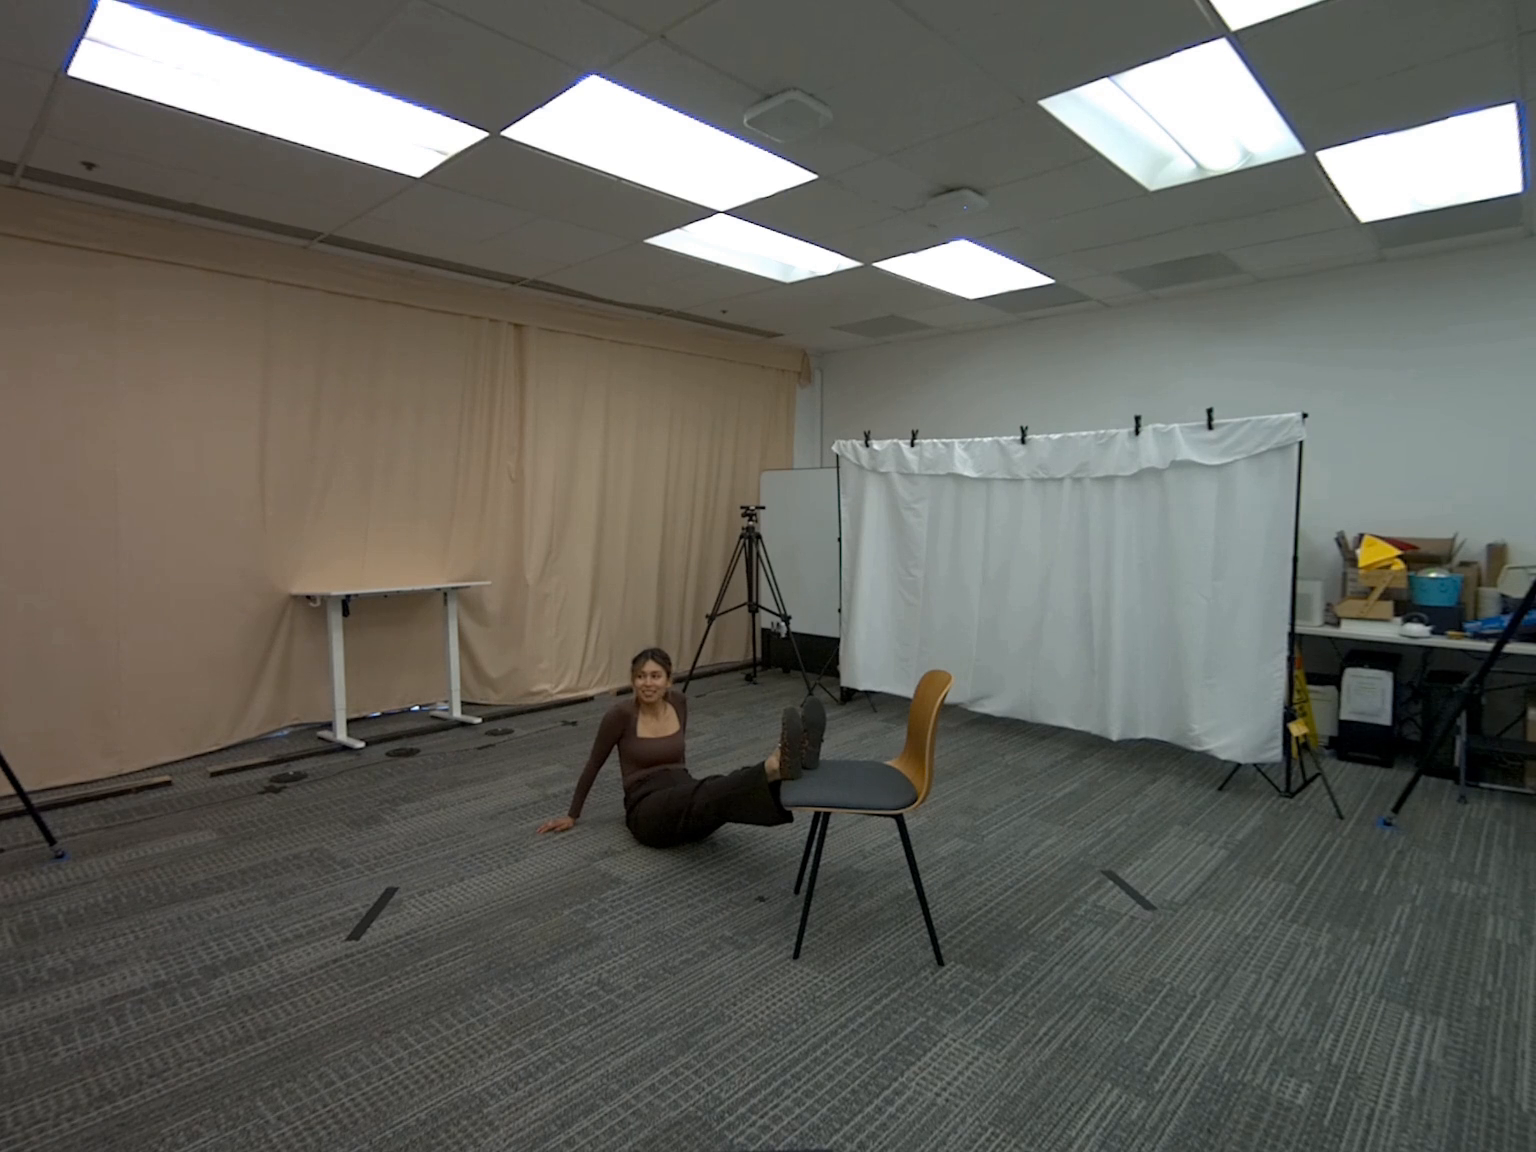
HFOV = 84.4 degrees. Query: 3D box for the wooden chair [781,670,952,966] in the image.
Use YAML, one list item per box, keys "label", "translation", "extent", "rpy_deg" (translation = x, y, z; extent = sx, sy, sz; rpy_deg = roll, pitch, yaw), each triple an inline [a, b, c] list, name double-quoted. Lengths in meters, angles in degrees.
- label: "wooden chair"
  translation: [0.313, 0.736, 2.754]
  extent: [0.526, 0.875, 0.476]
  rpy_deg: [4, 4, 4]
